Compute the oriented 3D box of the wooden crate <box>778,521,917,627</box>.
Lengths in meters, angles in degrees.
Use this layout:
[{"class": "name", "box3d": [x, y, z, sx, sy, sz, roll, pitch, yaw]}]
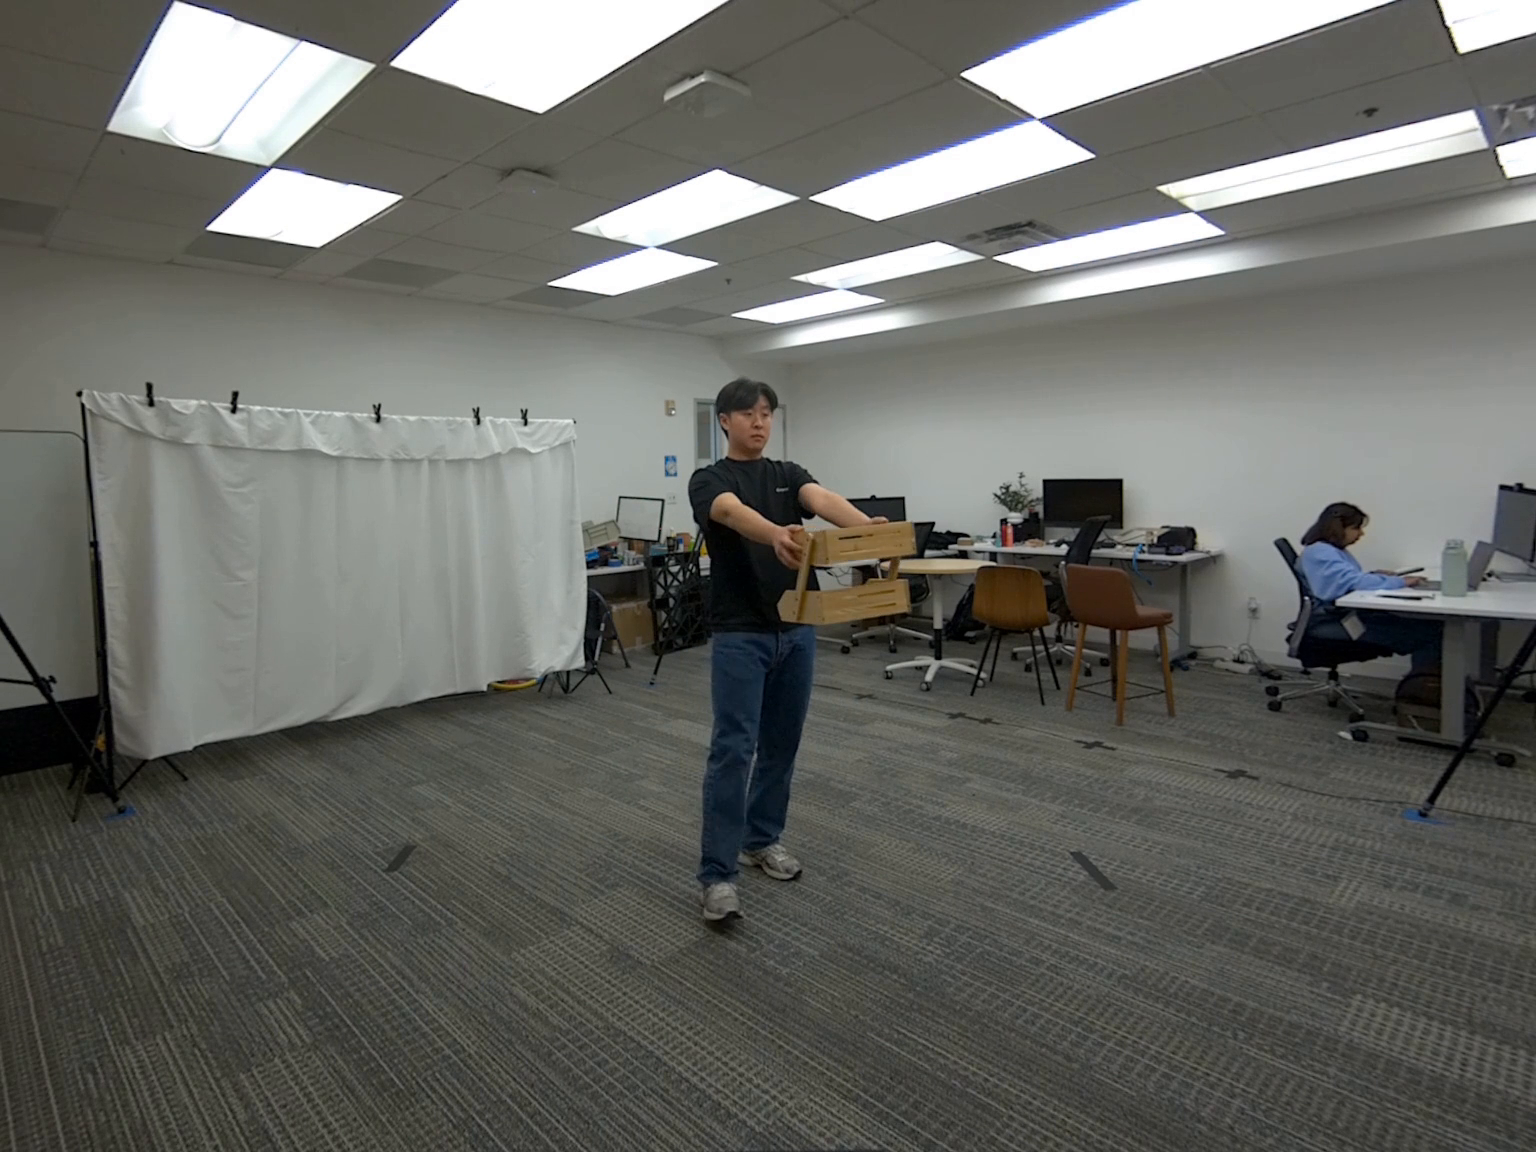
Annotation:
[{"class": "wooden crate", "box3d": [0.224, -0.014, 2.486, 0.318, 0.273, 0.309, -7, 3, -26]}]
